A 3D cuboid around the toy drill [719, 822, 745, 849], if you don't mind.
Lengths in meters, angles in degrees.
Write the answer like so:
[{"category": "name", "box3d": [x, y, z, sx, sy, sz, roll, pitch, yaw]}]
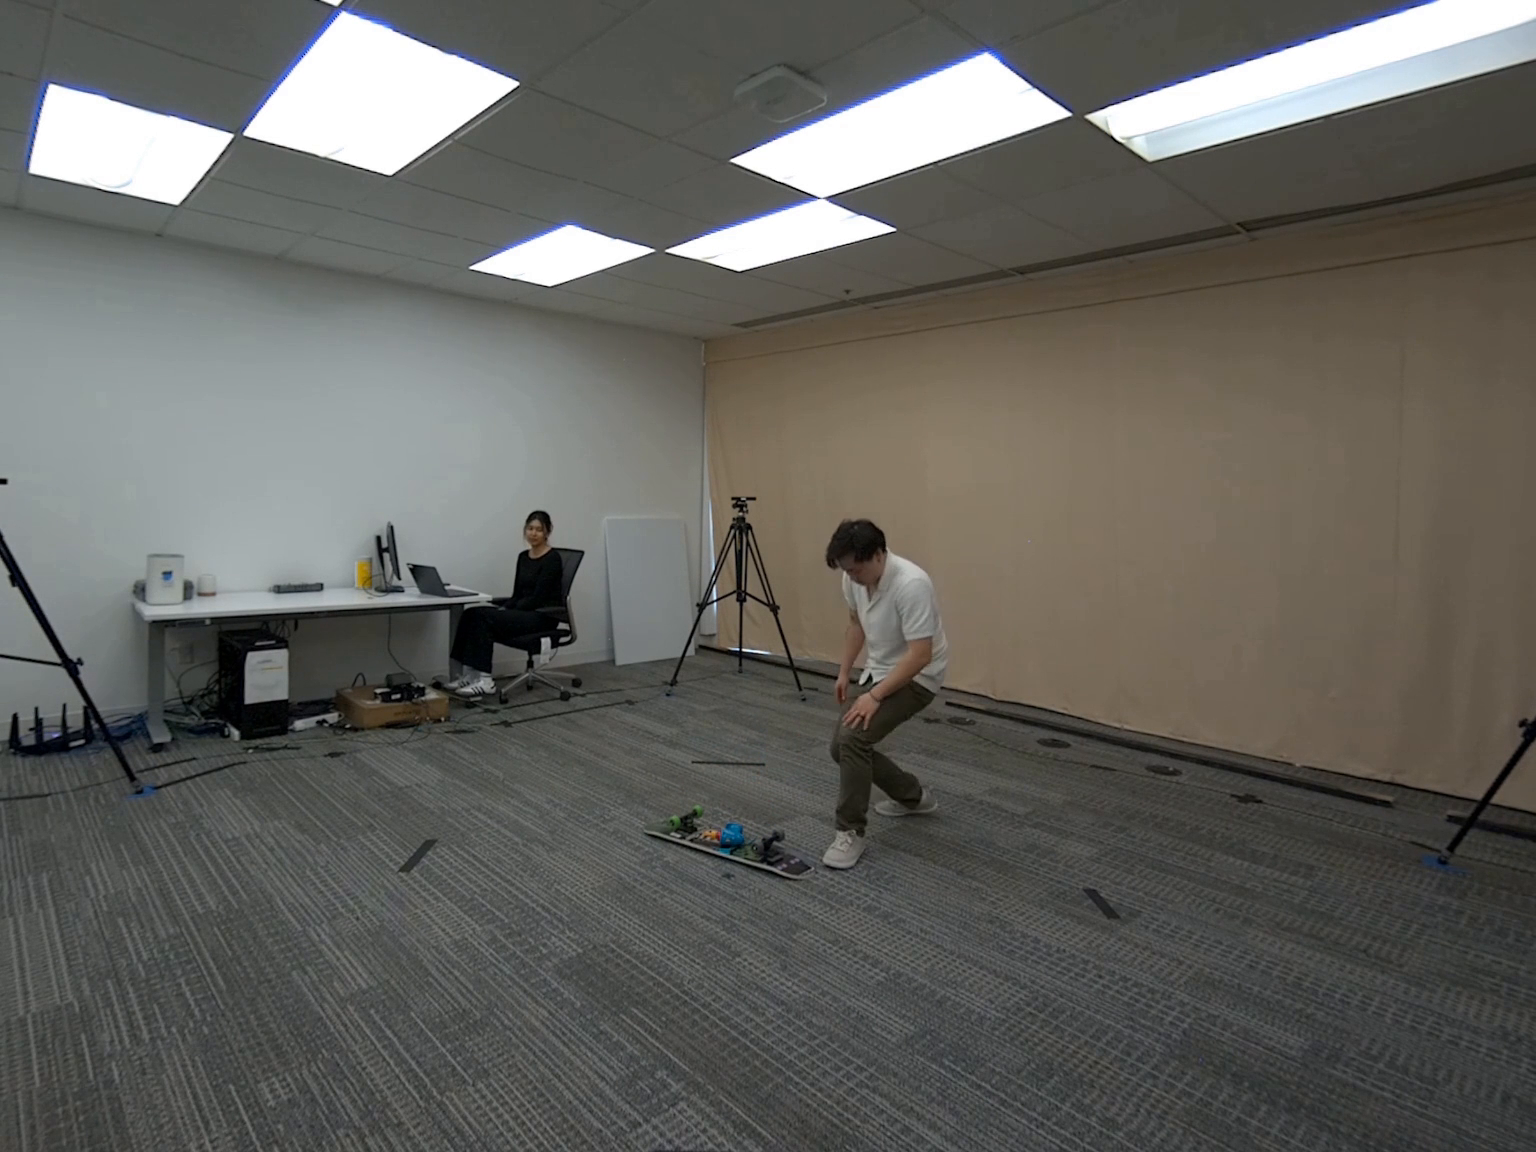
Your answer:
[{"category": "toy drill", "box3d": [-0.175, 1.023, 3.346, 0.170, 0.061, 0.146, 9, 5, 3]}]
